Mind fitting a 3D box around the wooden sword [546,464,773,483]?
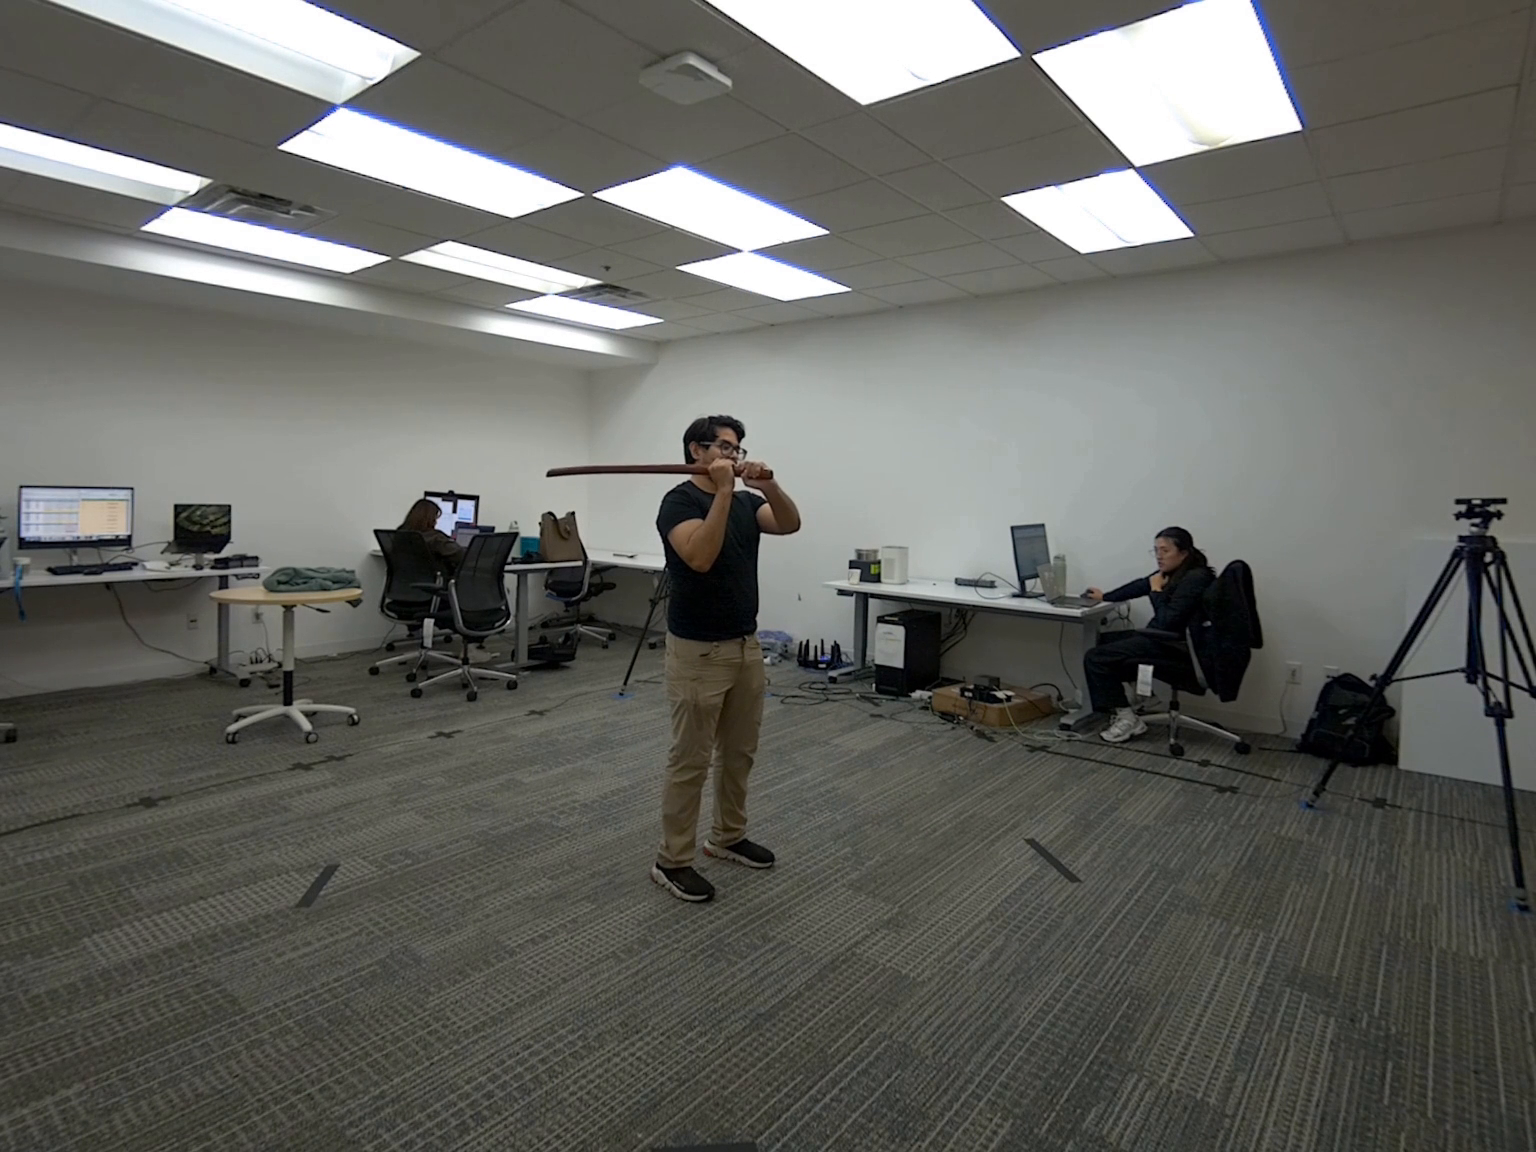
[{"bbox_3d":[-0.440,-0.386,3.002,1.057,0.024,0.050,4,13,34],"label":"wooden sword"}]
